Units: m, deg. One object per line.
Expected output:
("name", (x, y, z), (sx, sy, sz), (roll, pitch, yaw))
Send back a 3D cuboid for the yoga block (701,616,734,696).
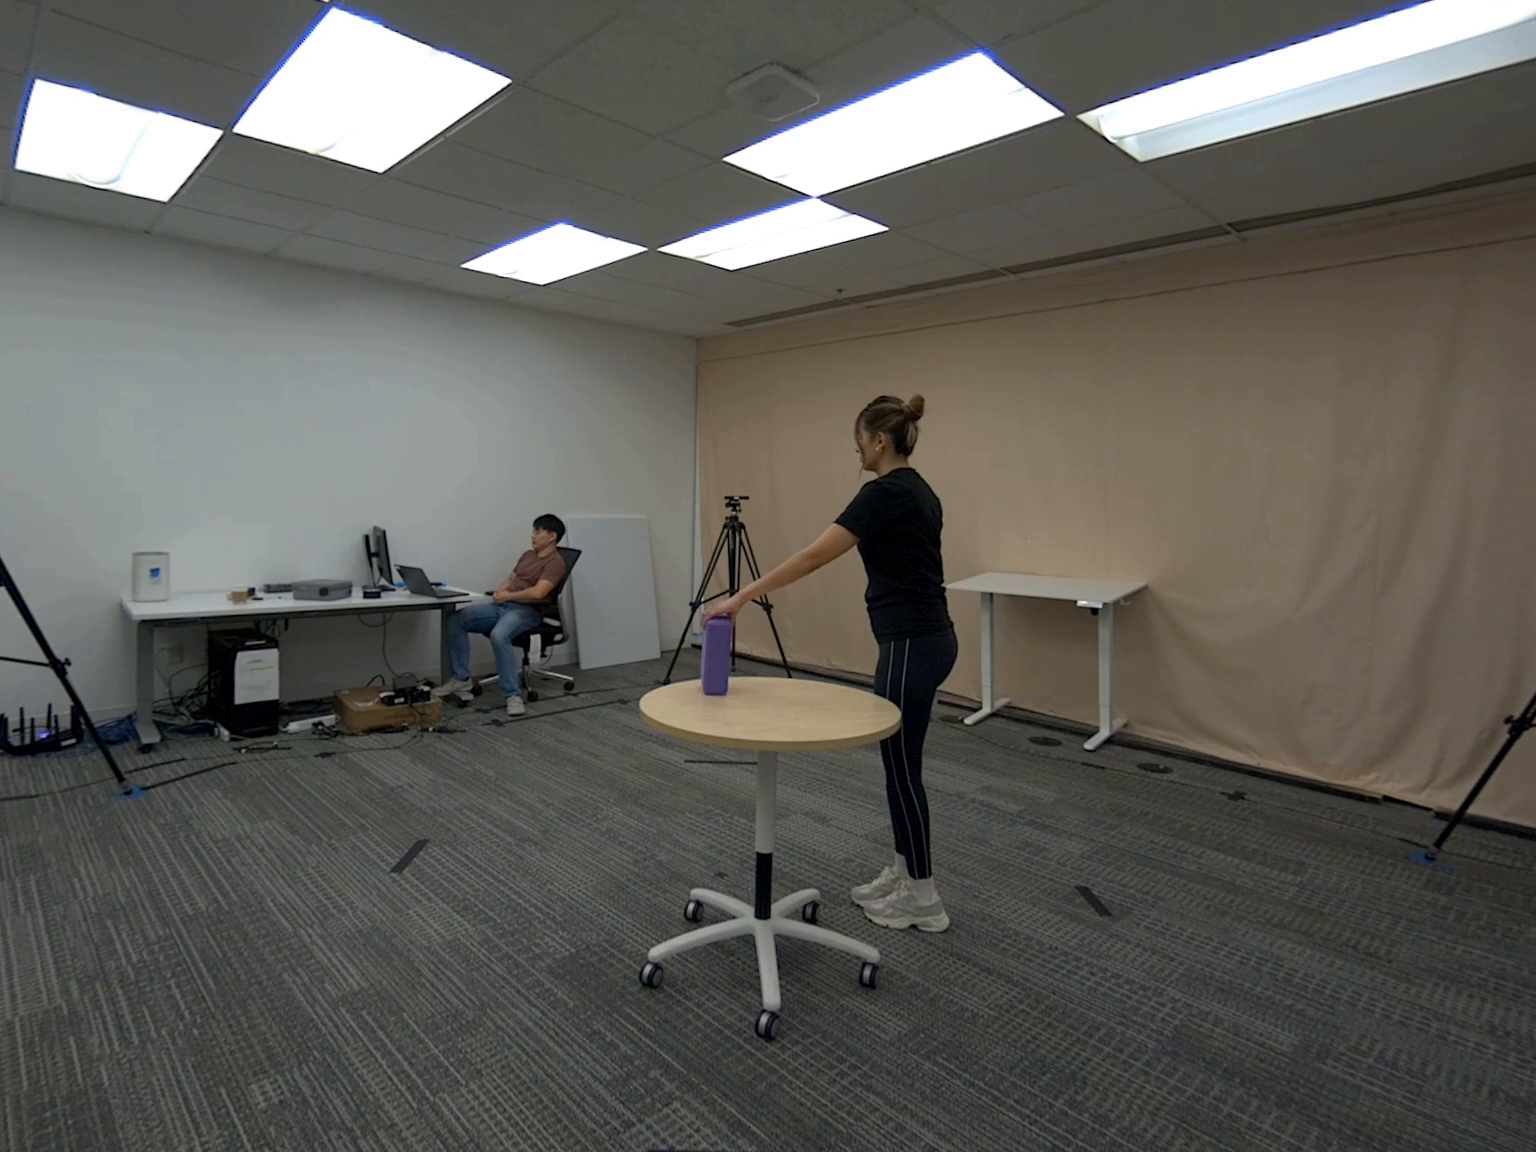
("yoga block", (-0.162, 0.227, 2.624), (0.077, 0.229, 0.149), (6, 3, 2))
